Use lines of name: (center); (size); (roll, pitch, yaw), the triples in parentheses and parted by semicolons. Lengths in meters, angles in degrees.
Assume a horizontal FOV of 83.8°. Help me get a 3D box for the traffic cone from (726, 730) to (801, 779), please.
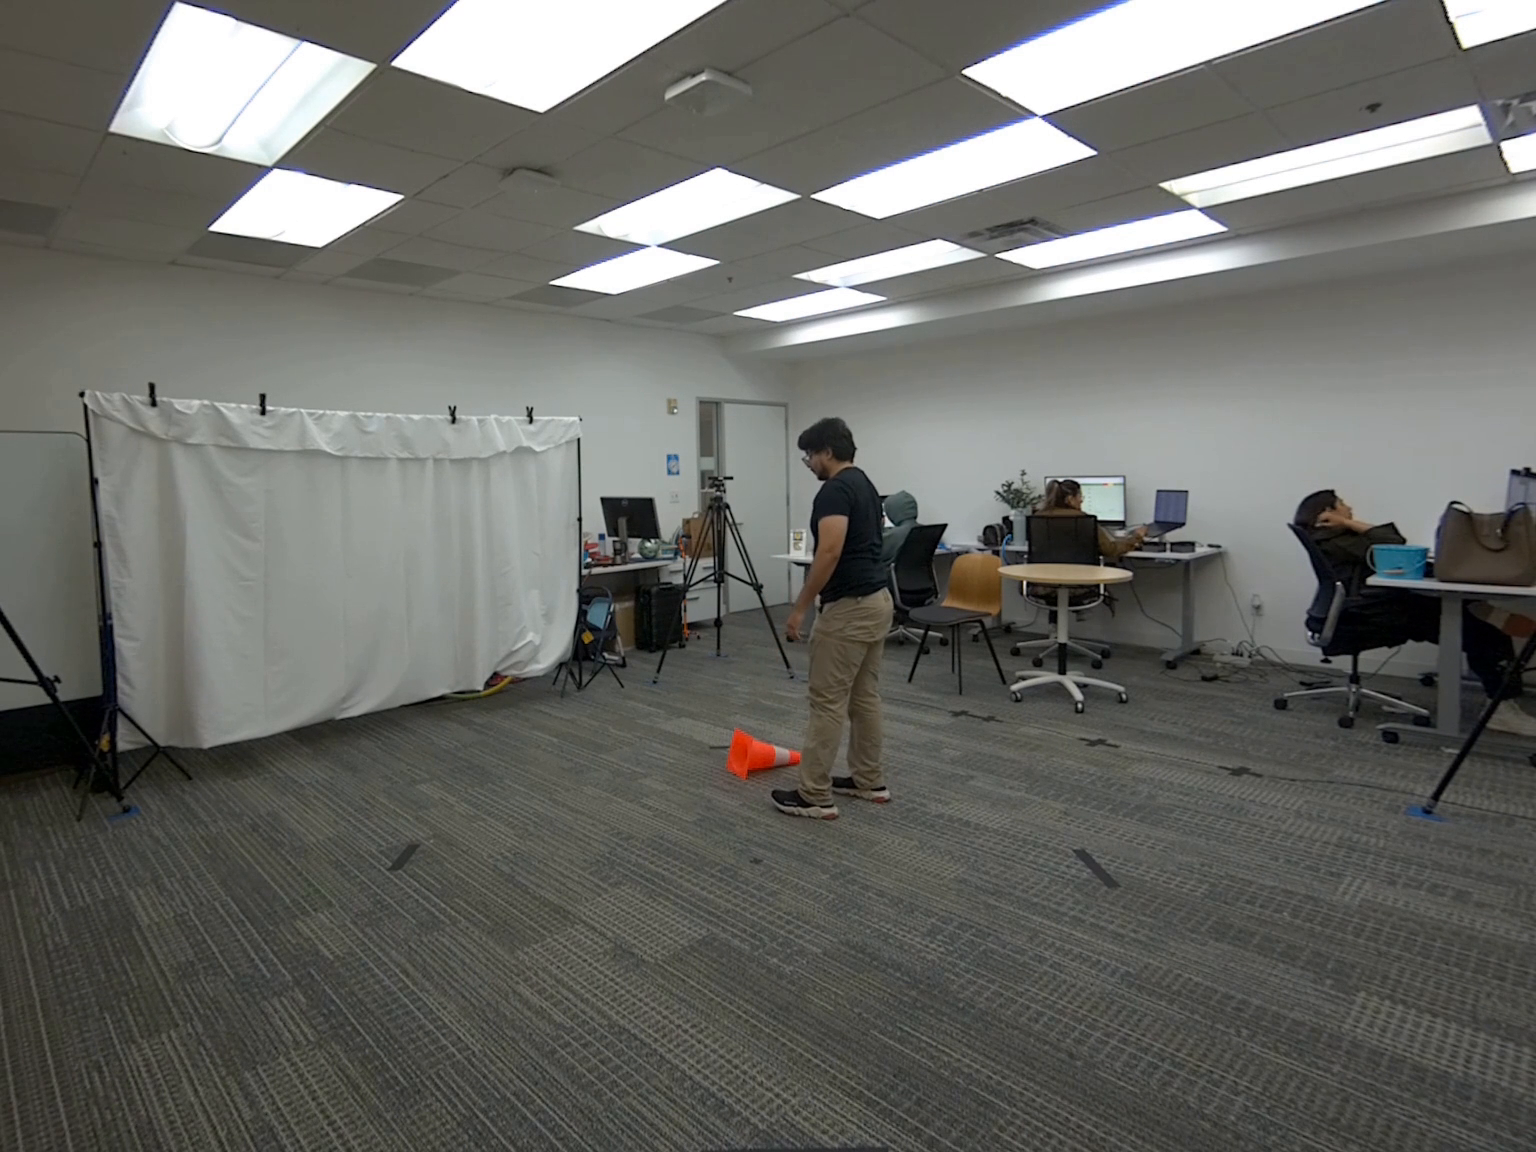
traffic cone: (0.027, 0.872, 4.122); (0.374, 0.204, 0.210); (12, -2, -26)
